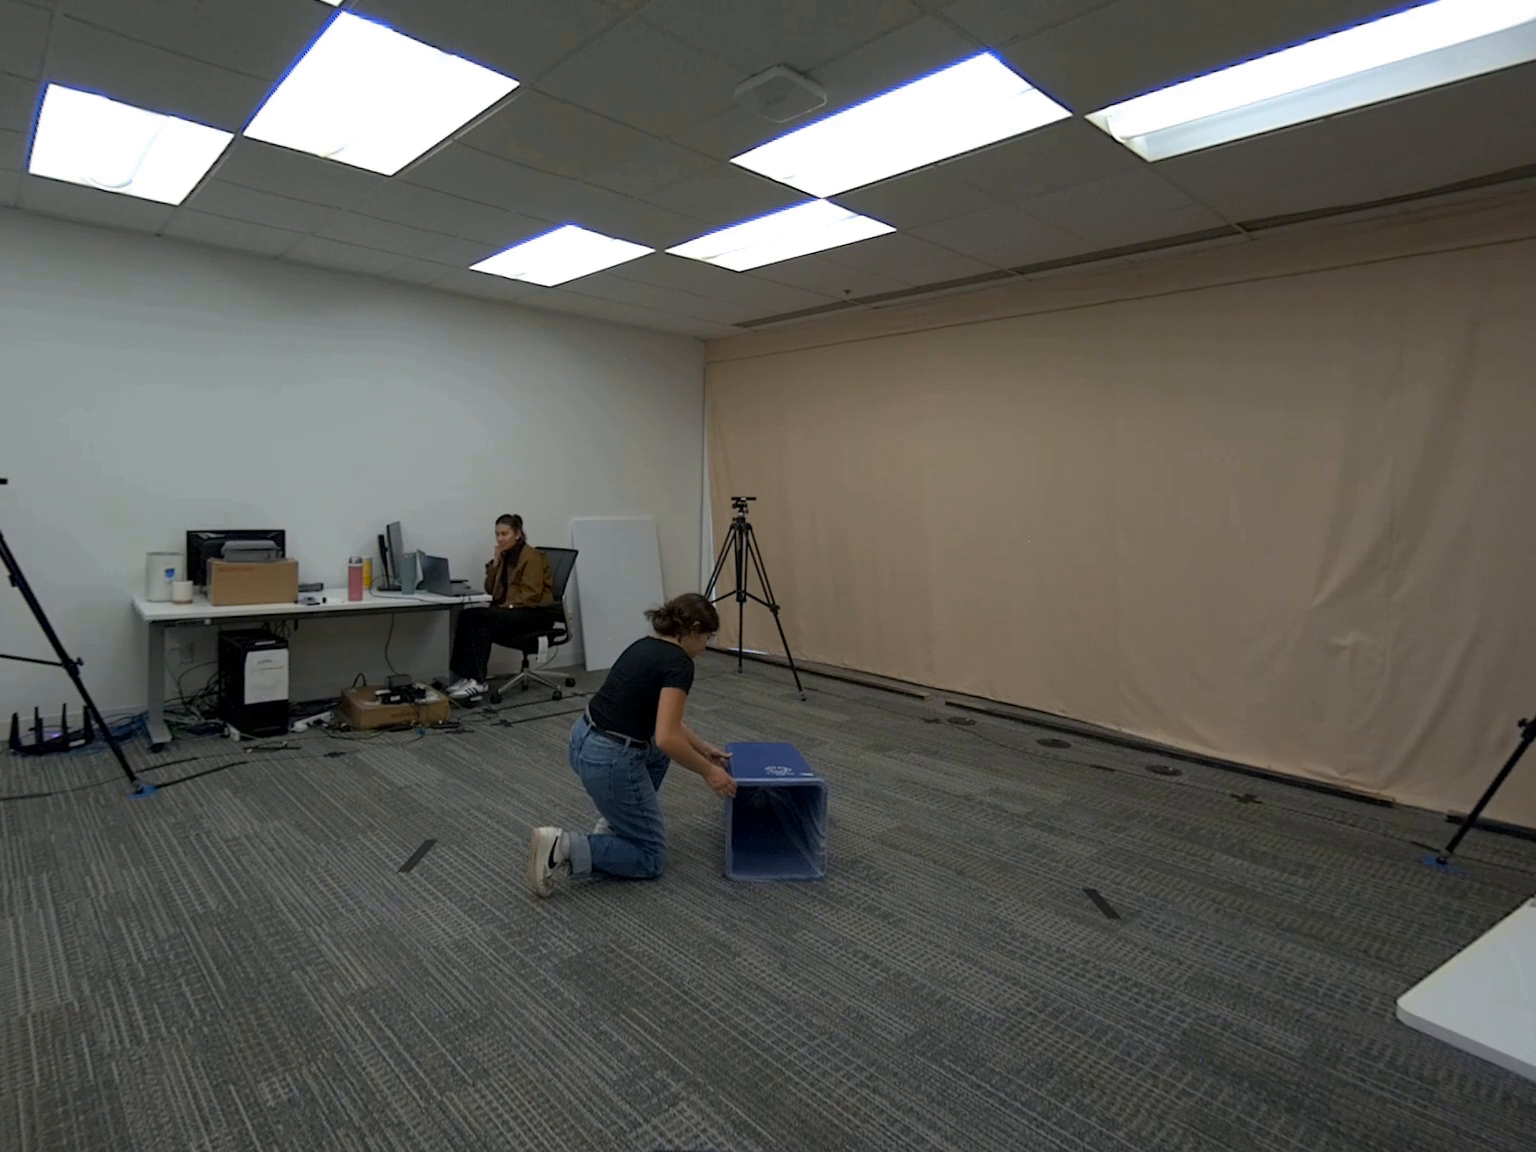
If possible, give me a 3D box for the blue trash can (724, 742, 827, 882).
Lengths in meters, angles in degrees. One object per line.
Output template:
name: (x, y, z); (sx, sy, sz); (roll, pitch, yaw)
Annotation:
blue trash can: (-0.011, 0.914, 3.421); (0.372, 0.378, 0.717); (1, 2, -6)
